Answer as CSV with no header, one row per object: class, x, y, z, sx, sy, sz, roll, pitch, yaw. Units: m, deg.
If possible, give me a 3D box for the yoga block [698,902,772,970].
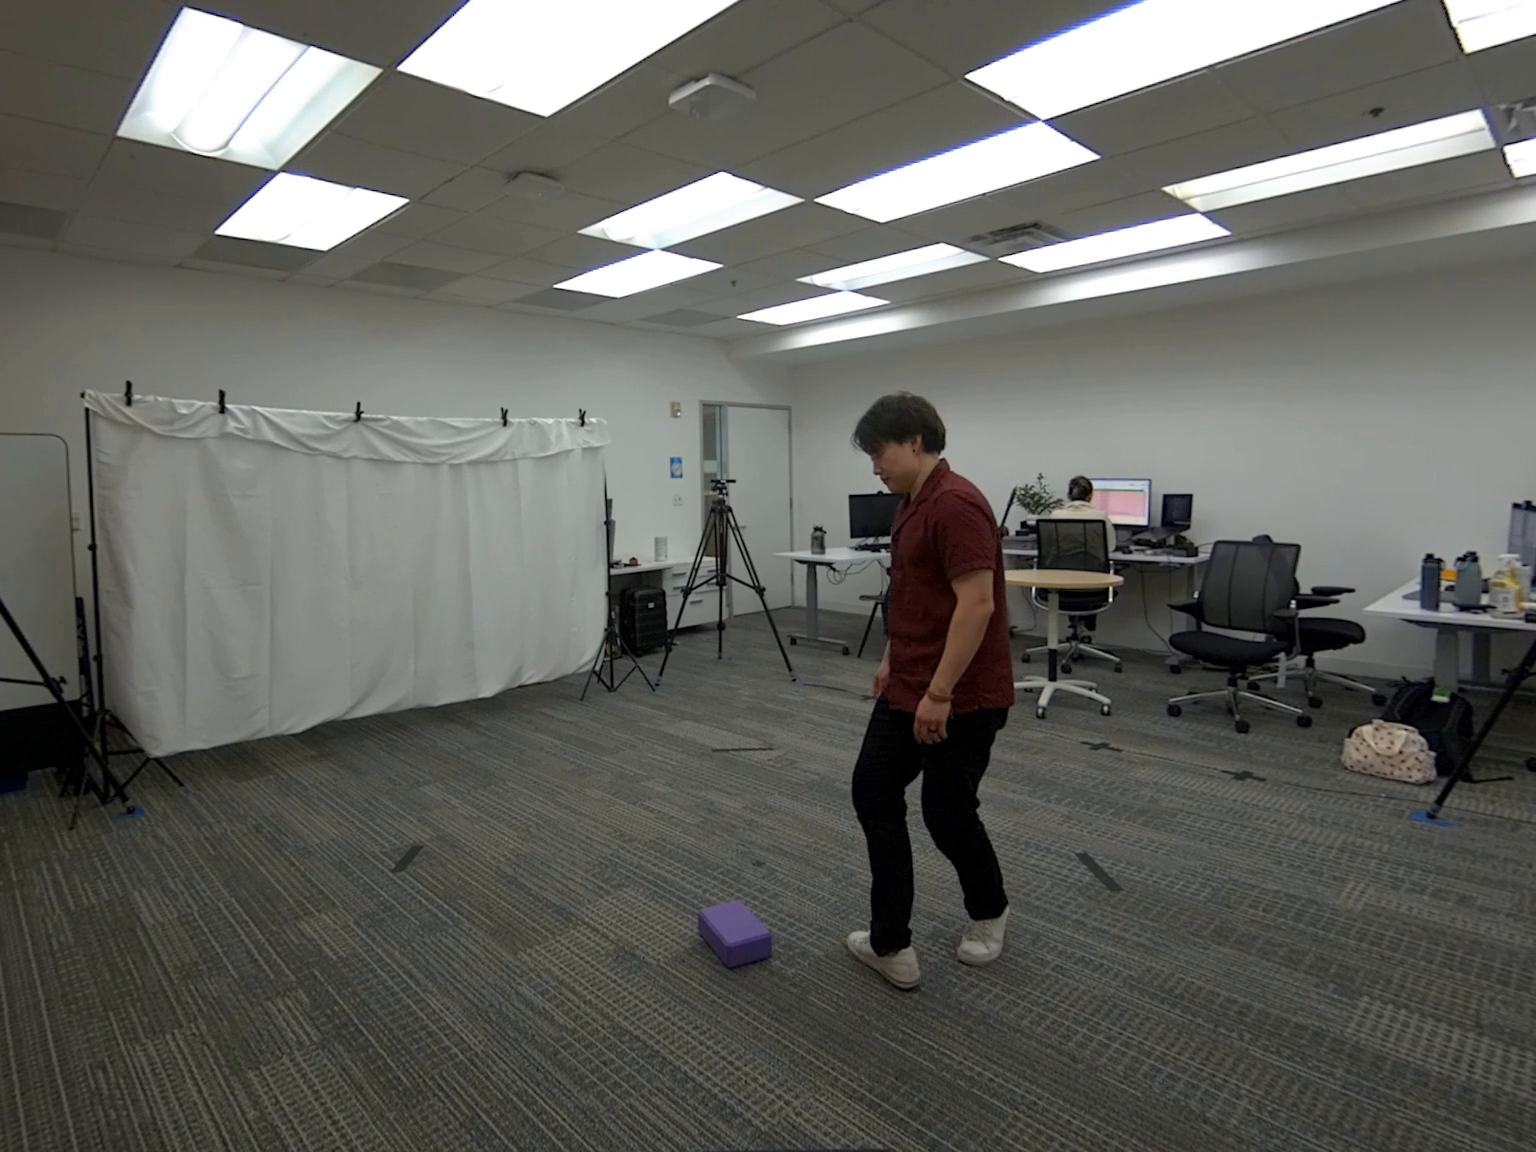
yoga block,-0.095,1.070,2.564,0.146,0.076,0.235,-4,6,-26
